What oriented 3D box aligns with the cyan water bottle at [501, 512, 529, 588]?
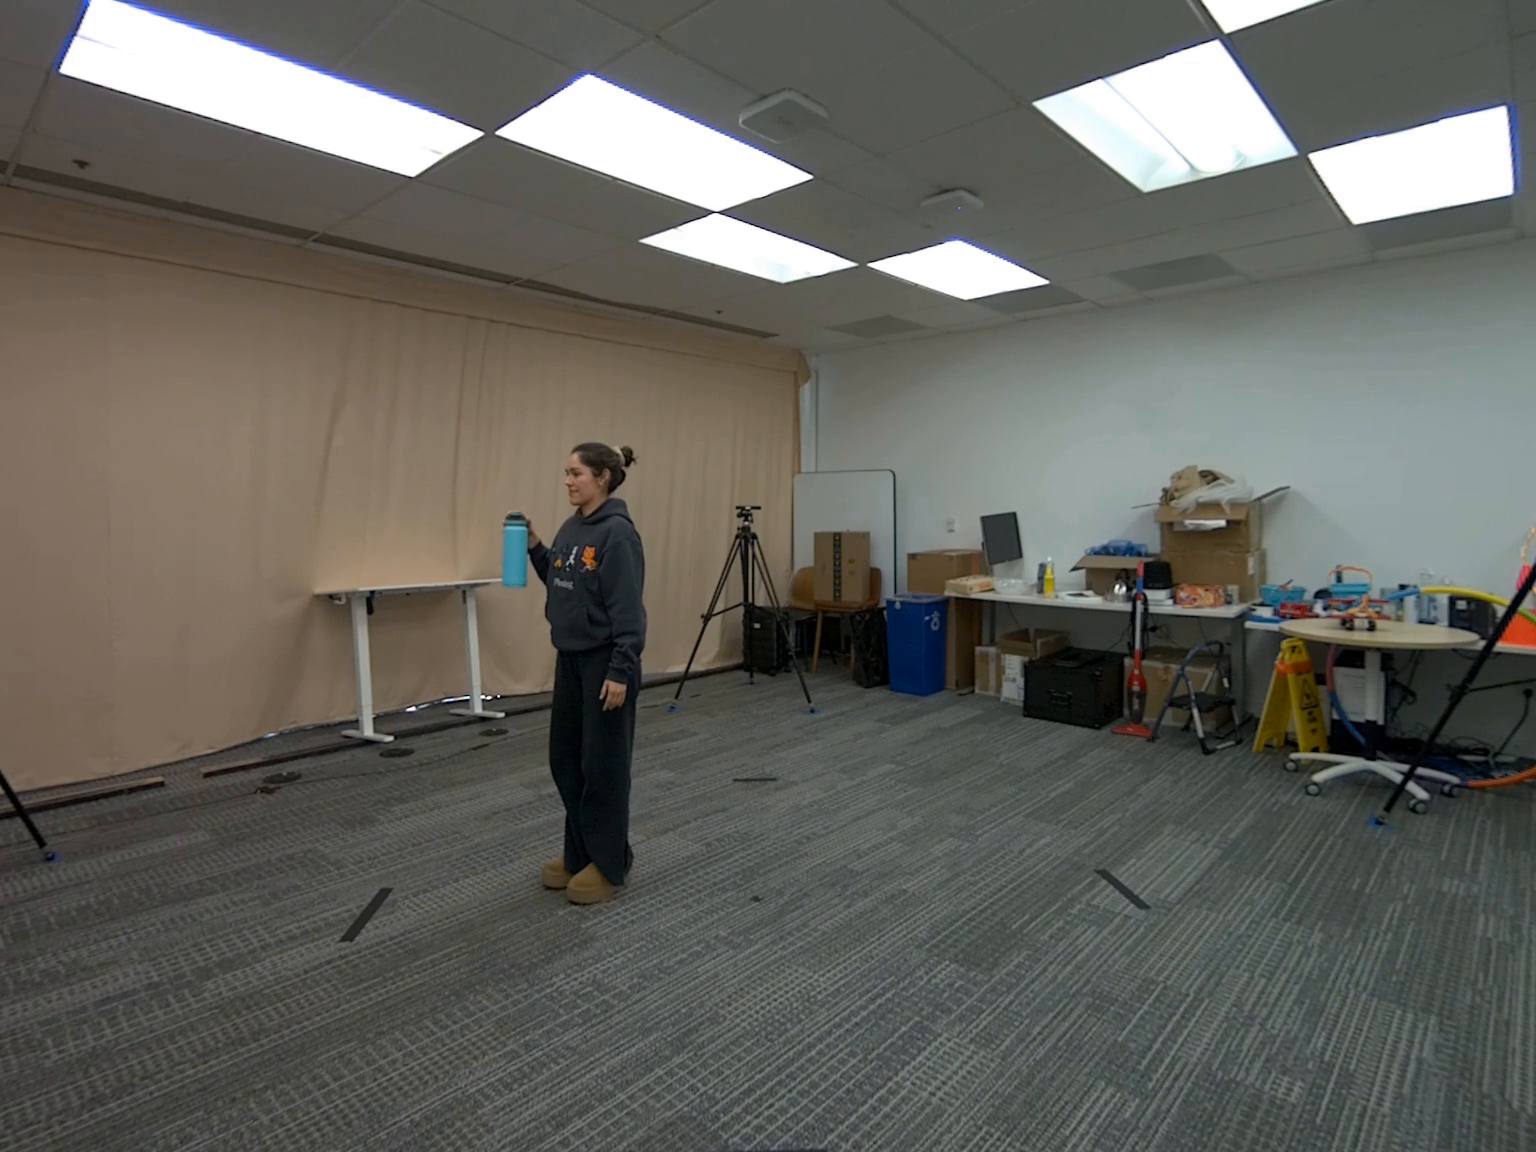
[{"bbox_3d":[-0.938,-0.088,3.165,0.092,0.283,0.092,0,0,-2],"label":"cyan water bottle"}]
